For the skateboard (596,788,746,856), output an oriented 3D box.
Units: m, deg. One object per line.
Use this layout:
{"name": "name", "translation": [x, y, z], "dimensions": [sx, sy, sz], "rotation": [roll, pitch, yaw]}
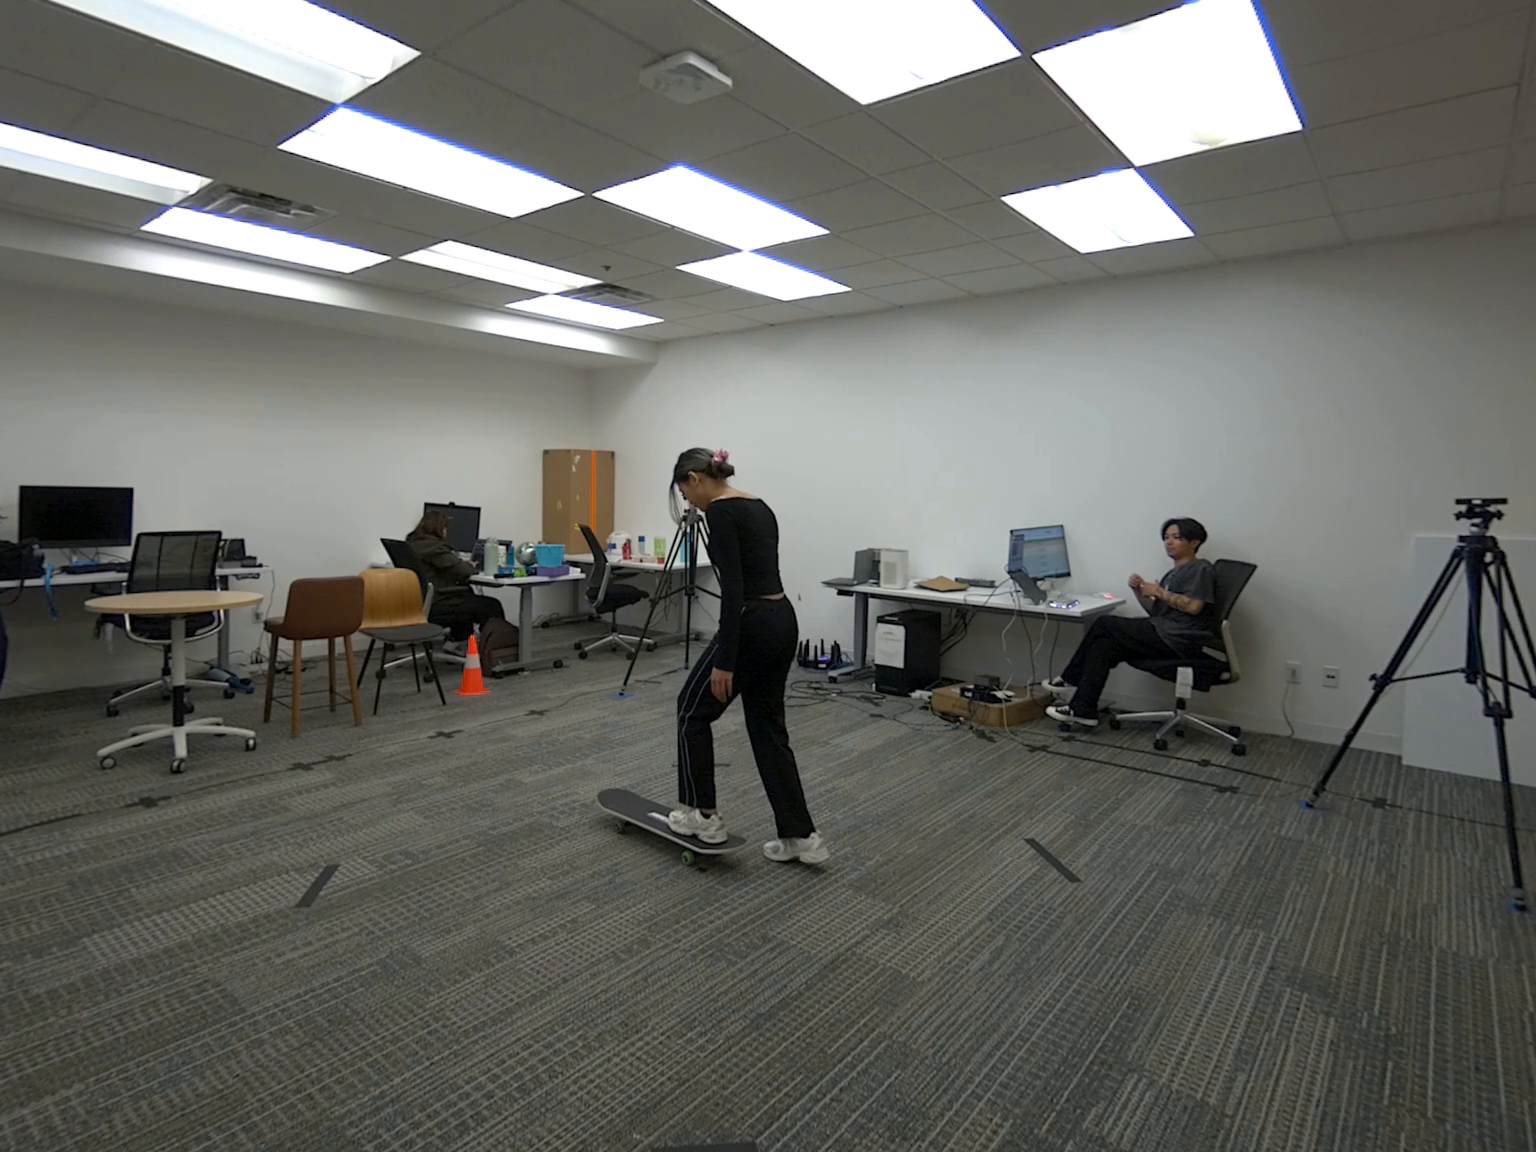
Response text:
{"name": "skateboard", "translation": [-0.401, 0.990, 3.332], "dimensions": [0.813, 0.110, 0.187], "rotation": [7, 7, 42]}
